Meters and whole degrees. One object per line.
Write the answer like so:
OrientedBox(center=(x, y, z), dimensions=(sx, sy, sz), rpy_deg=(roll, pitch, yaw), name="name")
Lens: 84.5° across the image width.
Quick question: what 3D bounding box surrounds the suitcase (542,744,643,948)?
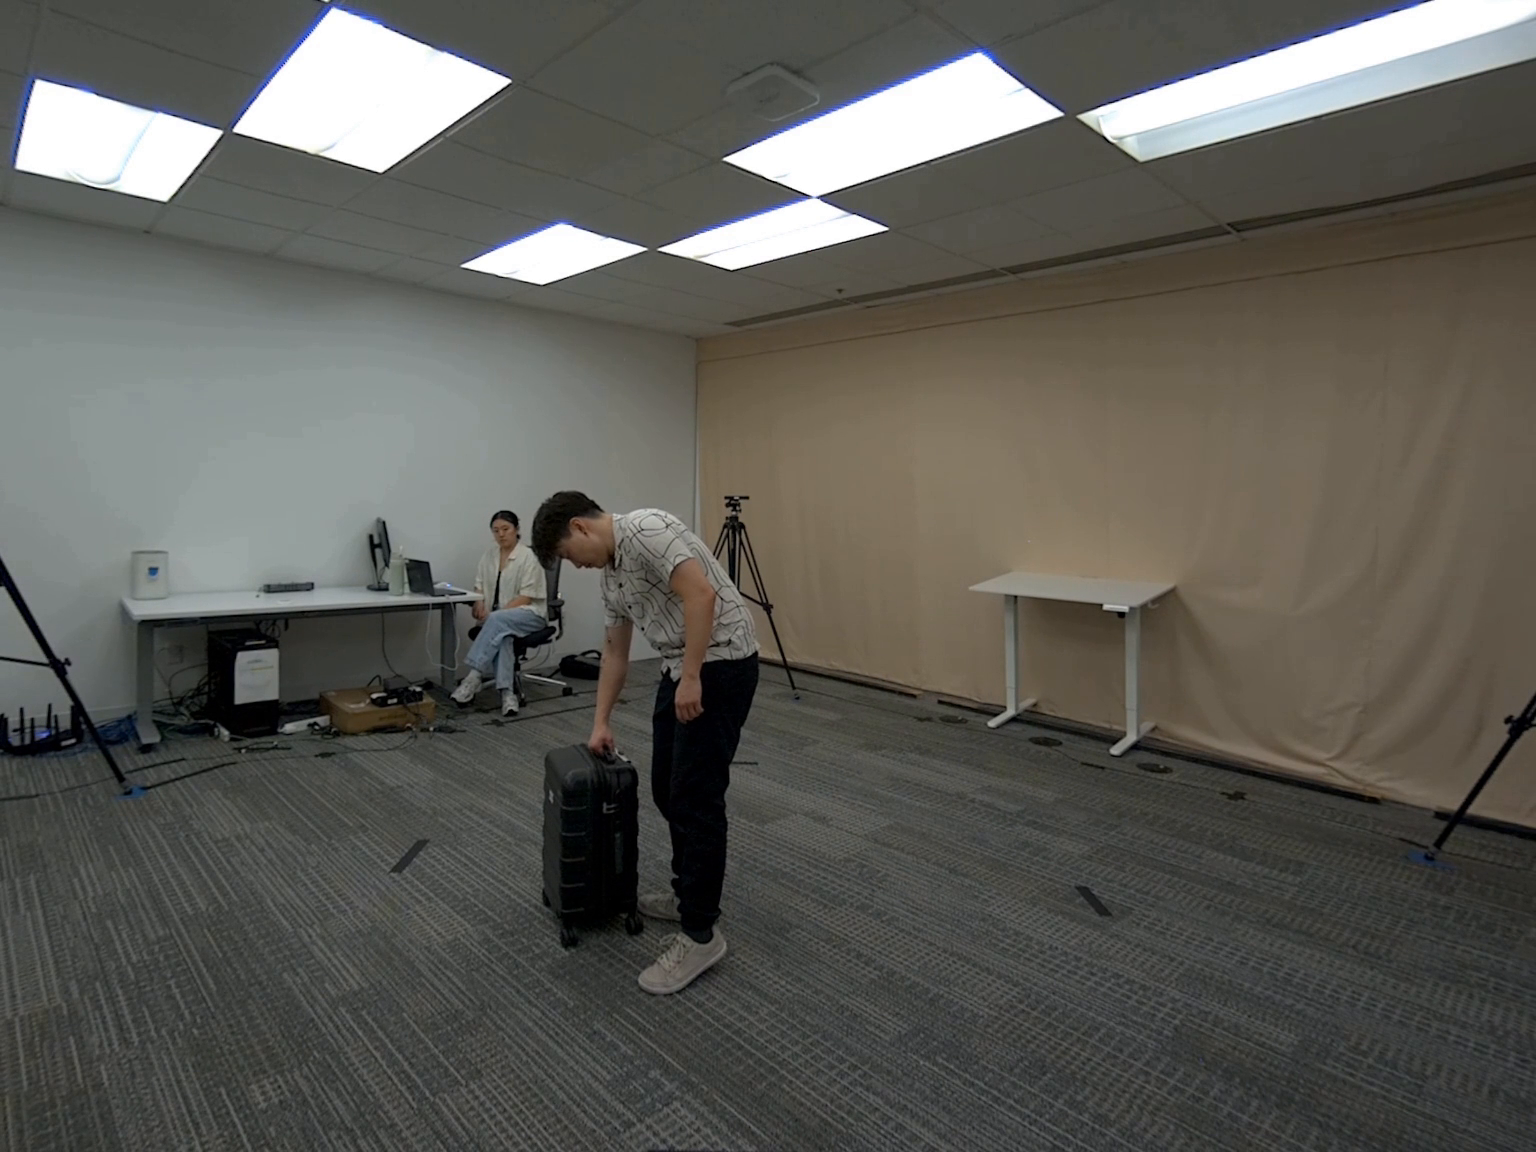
OrientedBox(center=(-0.593, 0.846, 2.769), dimensions=(0.244, 0.548, 0.383), rpy_deg=(0, 4, -25), name="suitcase")
